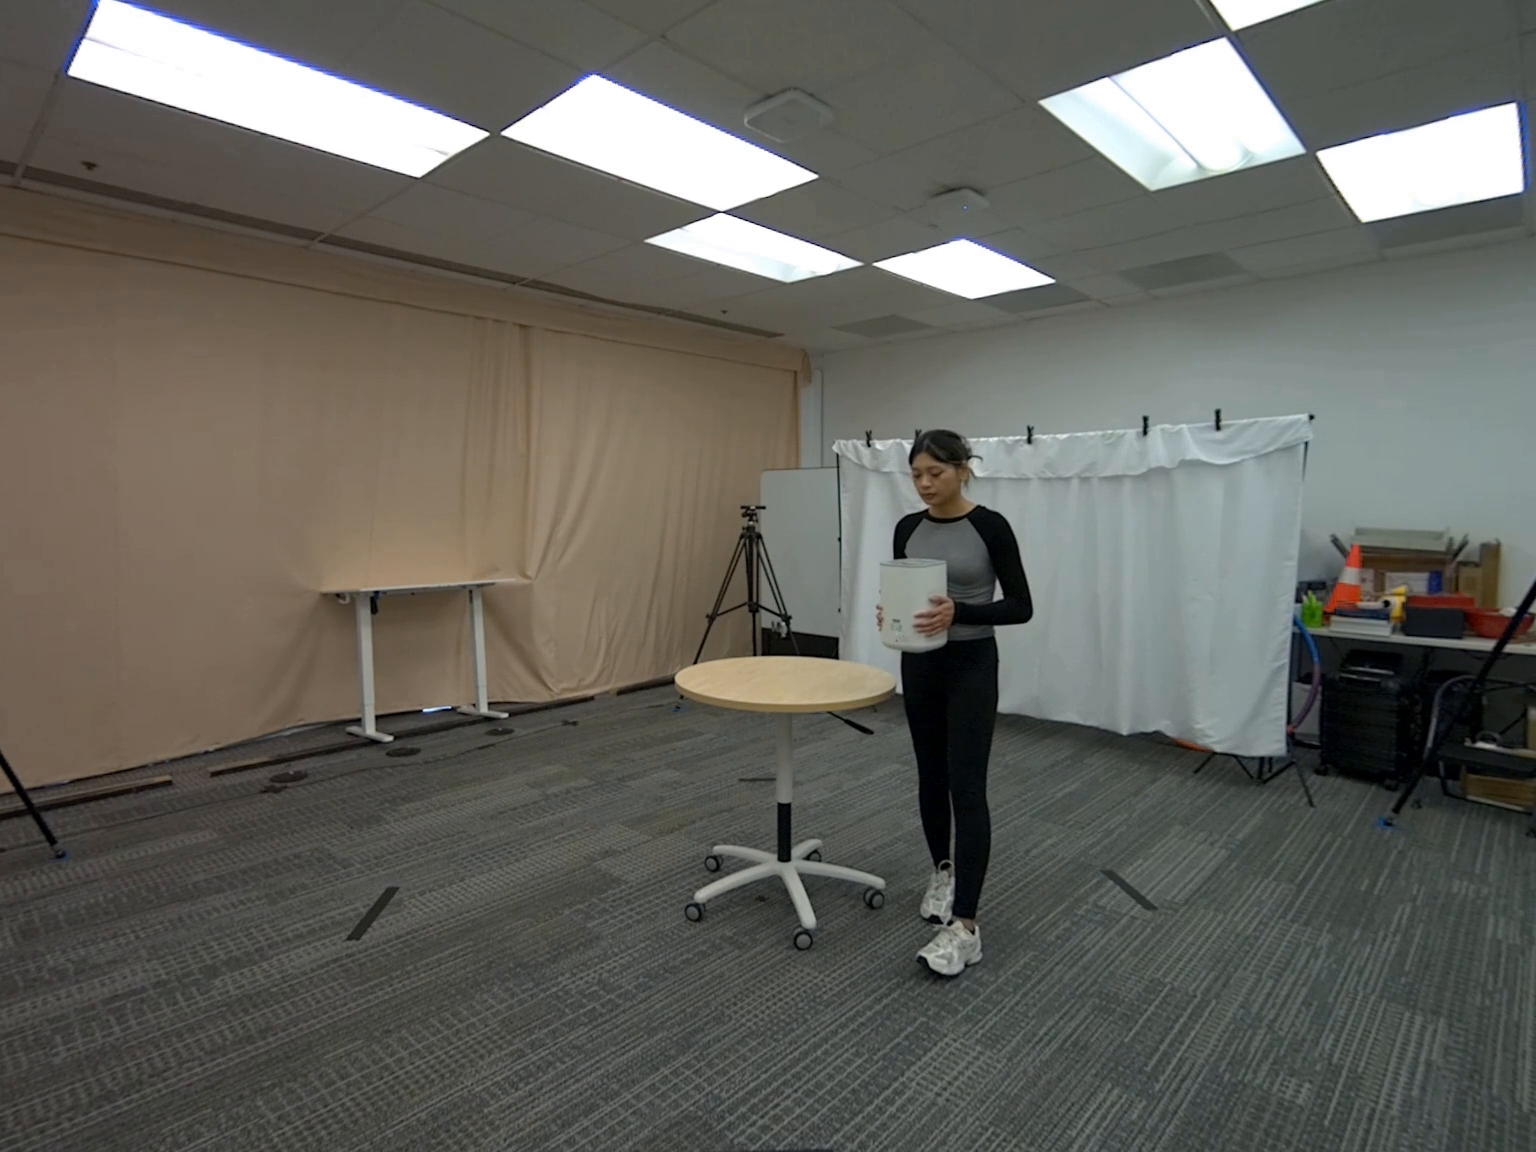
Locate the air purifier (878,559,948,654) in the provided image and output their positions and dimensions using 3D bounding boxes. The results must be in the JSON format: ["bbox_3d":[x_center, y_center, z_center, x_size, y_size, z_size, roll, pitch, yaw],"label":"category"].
[{"bbox_3d":[0.447,0.090,2.584,0.177,0.264,0.166,6,10,45],"label":"air purifier"}]
